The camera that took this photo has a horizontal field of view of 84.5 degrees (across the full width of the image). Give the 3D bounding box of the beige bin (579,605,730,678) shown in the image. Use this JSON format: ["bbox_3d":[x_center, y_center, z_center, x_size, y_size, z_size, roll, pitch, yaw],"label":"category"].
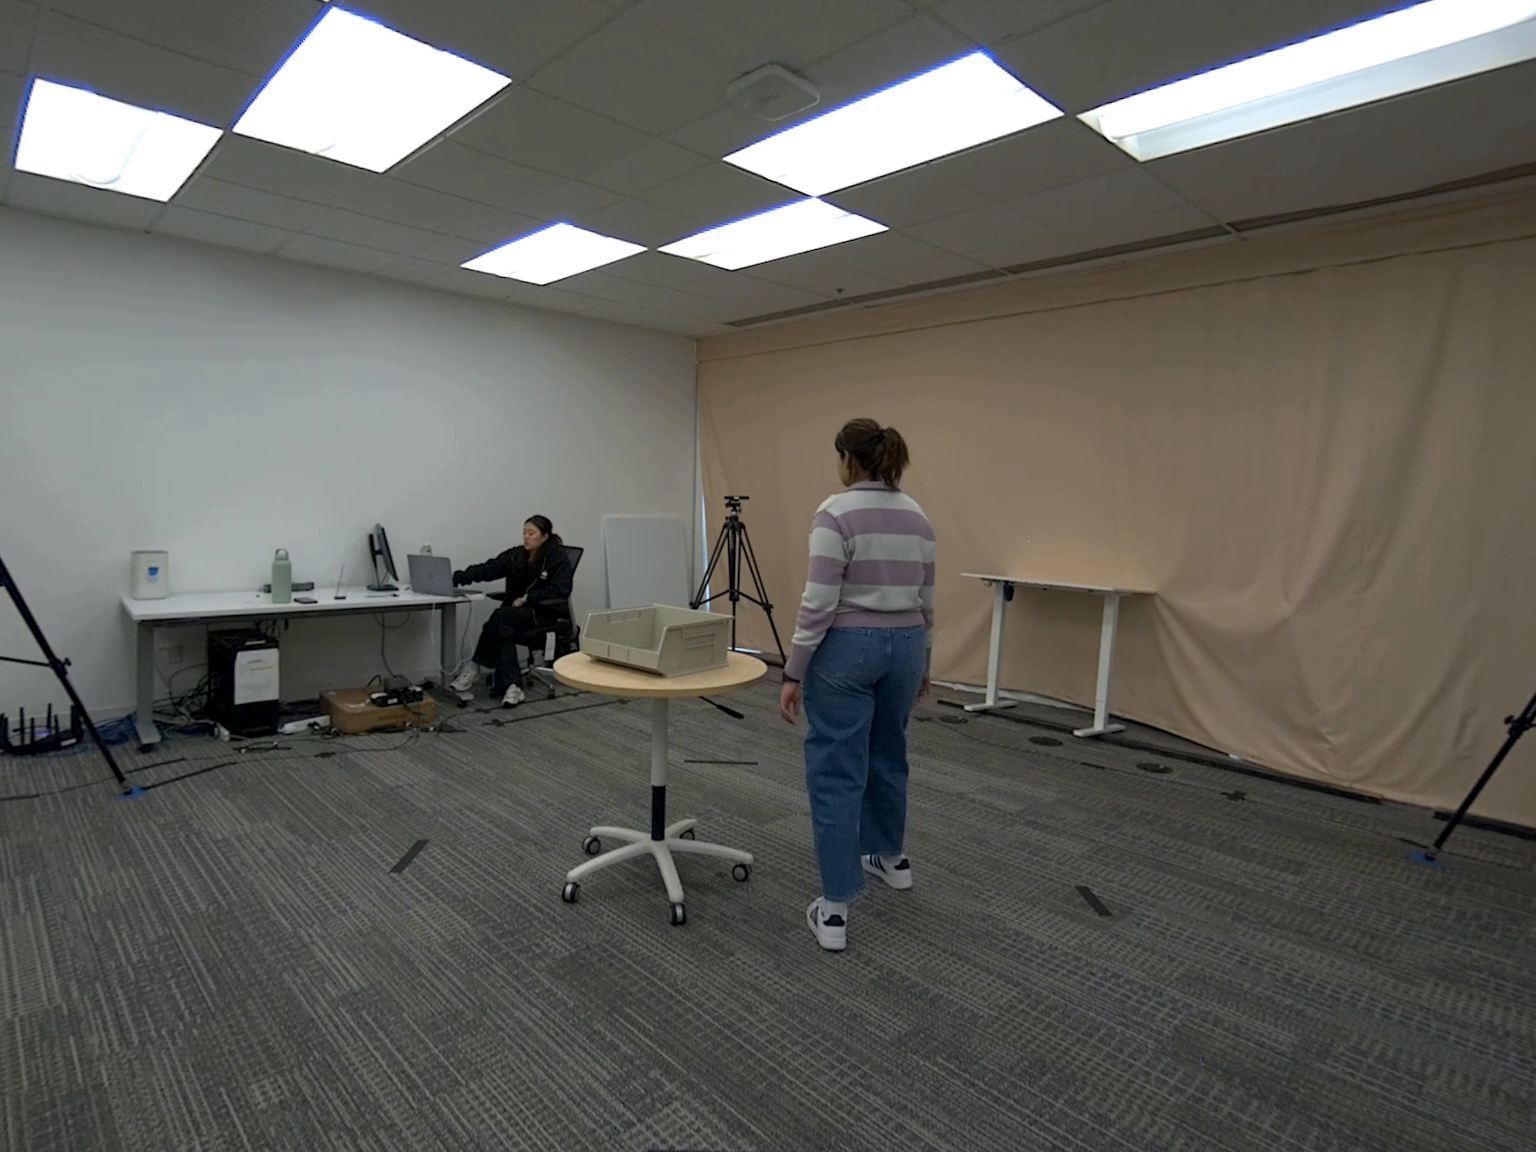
[{"bbox_3d":[-0.419,0.229,3.052,0.433,0.188,0.368,6,5,41],"label":"beige bin"}]
